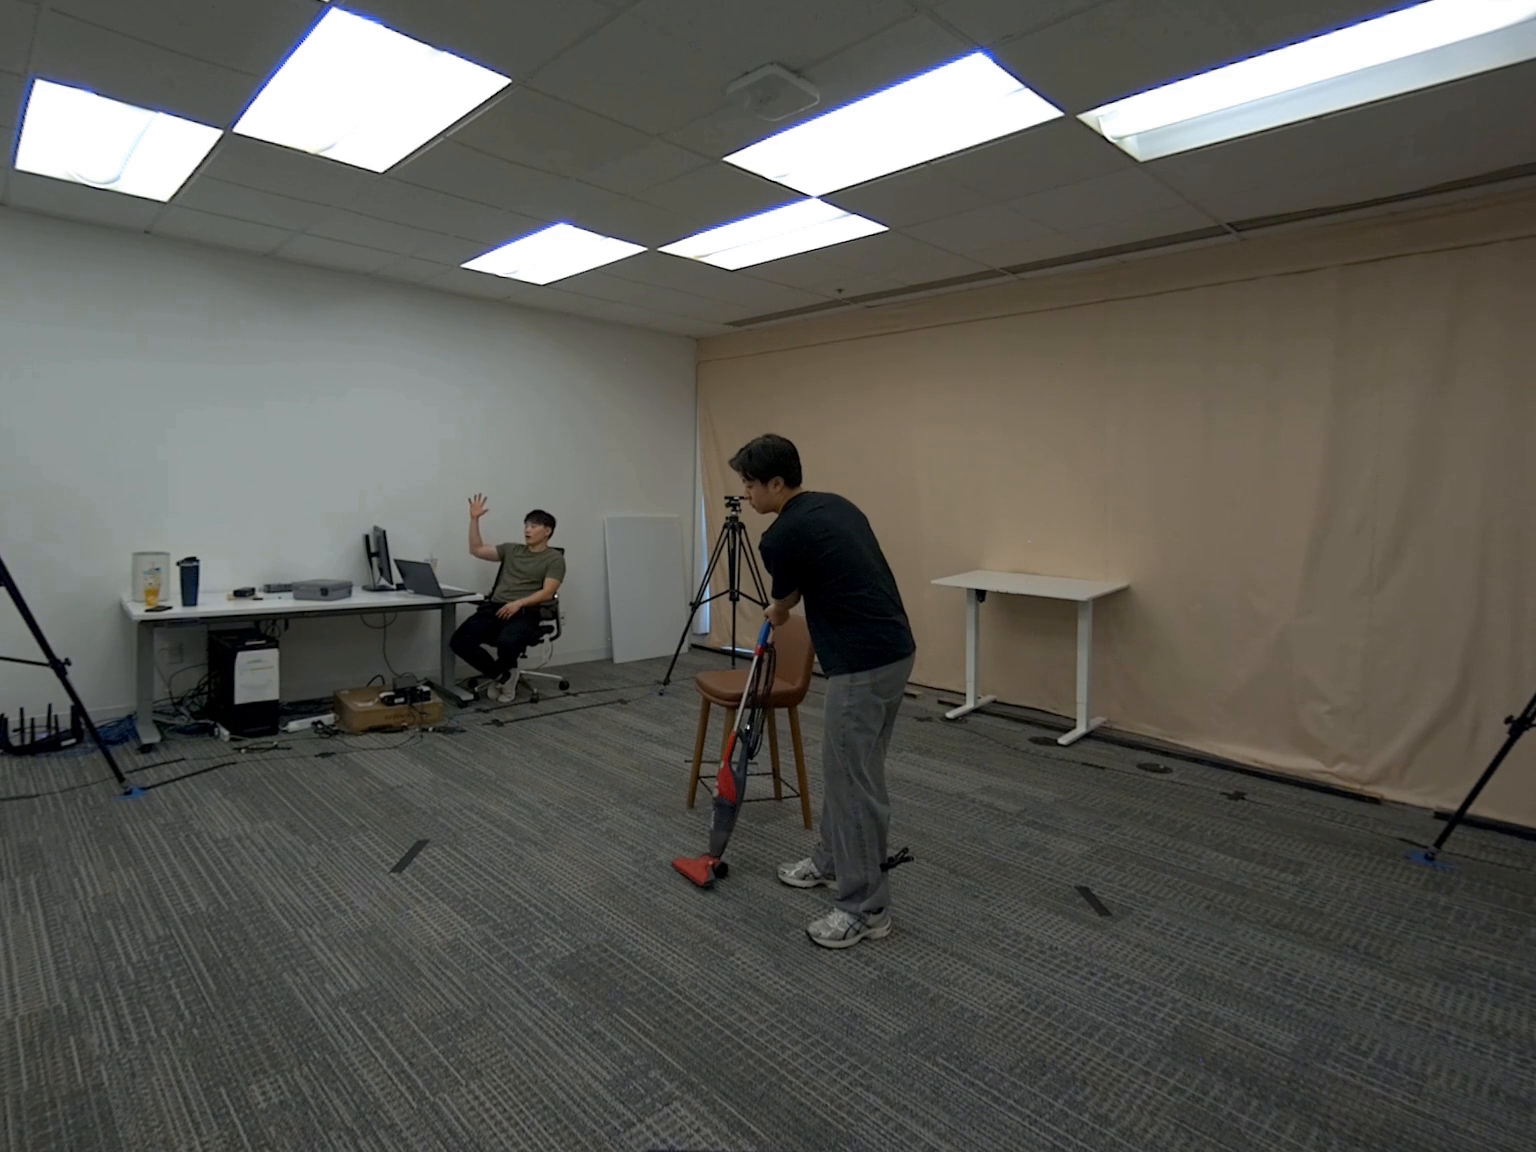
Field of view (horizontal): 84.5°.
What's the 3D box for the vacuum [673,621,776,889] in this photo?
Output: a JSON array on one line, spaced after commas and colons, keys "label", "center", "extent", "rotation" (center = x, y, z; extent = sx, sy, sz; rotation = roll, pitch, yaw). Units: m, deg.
[{"label": "vacuum", "center": [-0.092, 0.604, 3.213], "extent": [0.140, 1.056, 0.258], "rotation": [26, -16, -34]}]
